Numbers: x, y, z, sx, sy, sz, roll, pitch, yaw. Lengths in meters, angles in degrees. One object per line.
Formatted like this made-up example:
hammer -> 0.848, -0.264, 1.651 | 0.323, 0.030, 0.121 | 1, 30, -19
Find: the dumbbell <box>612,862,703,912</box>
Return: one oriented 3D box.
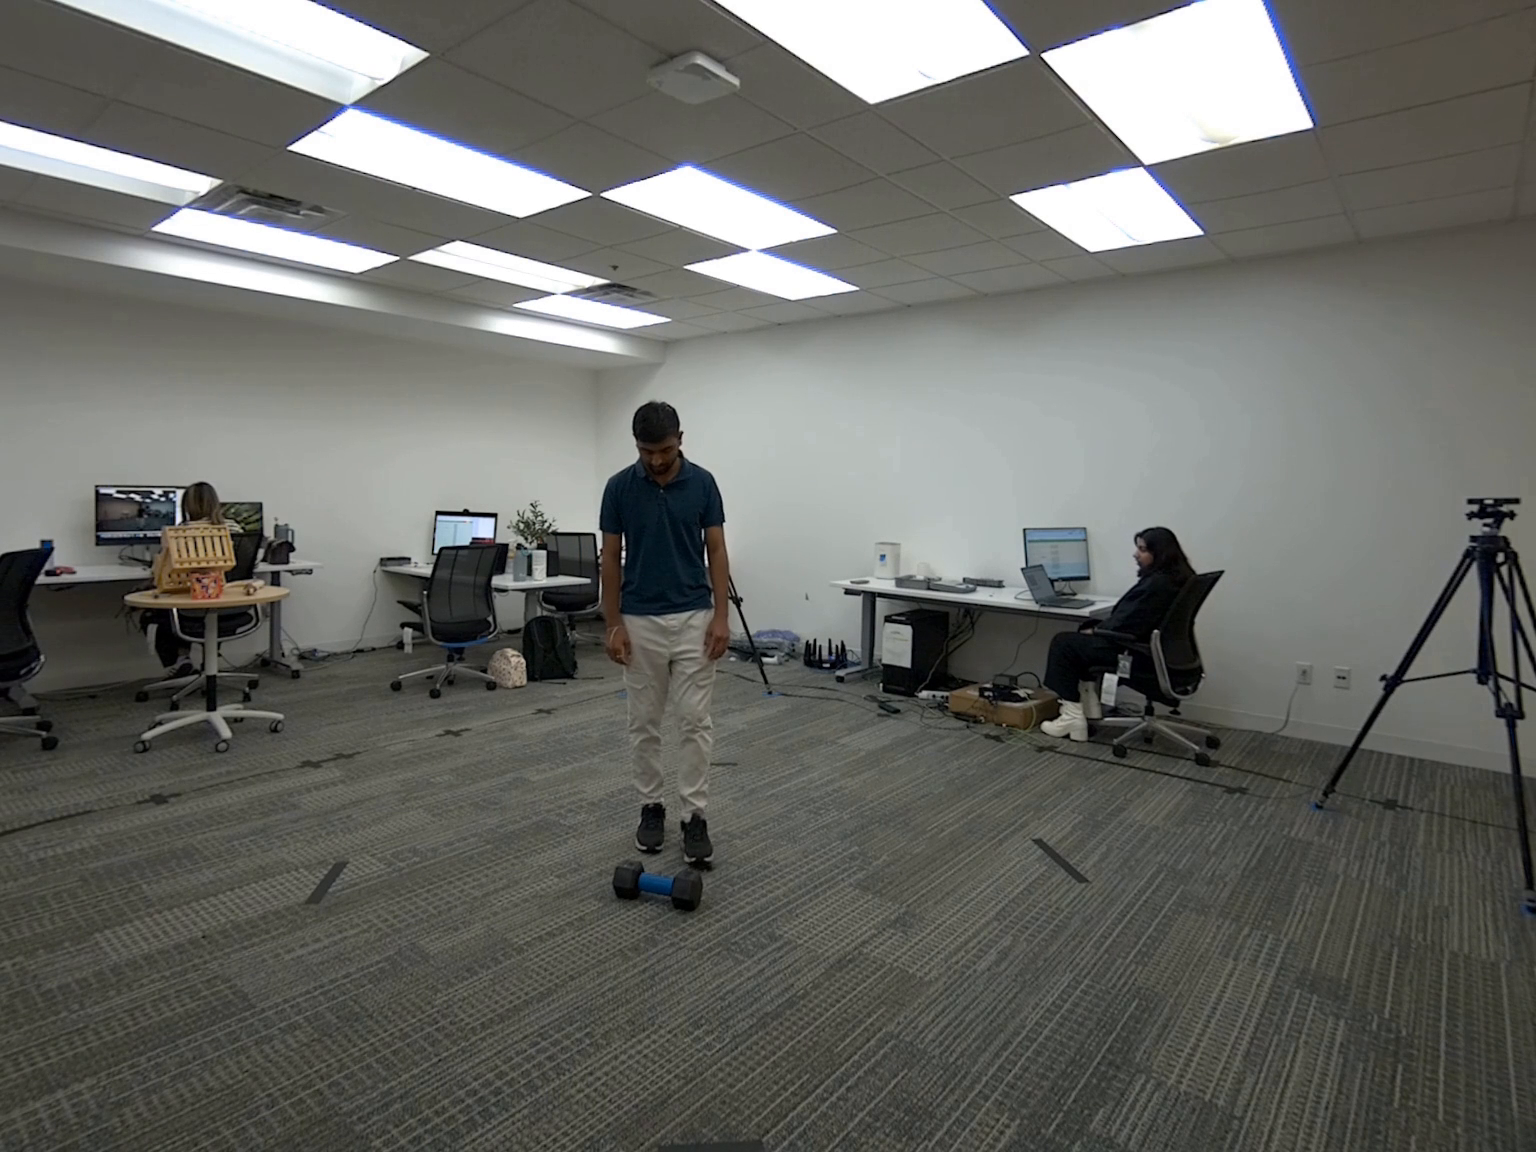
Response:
dumbbell -> -0.383, 1.033, 2.858 | 0.299, 0.119, 0.110 | 3, 35, 18
